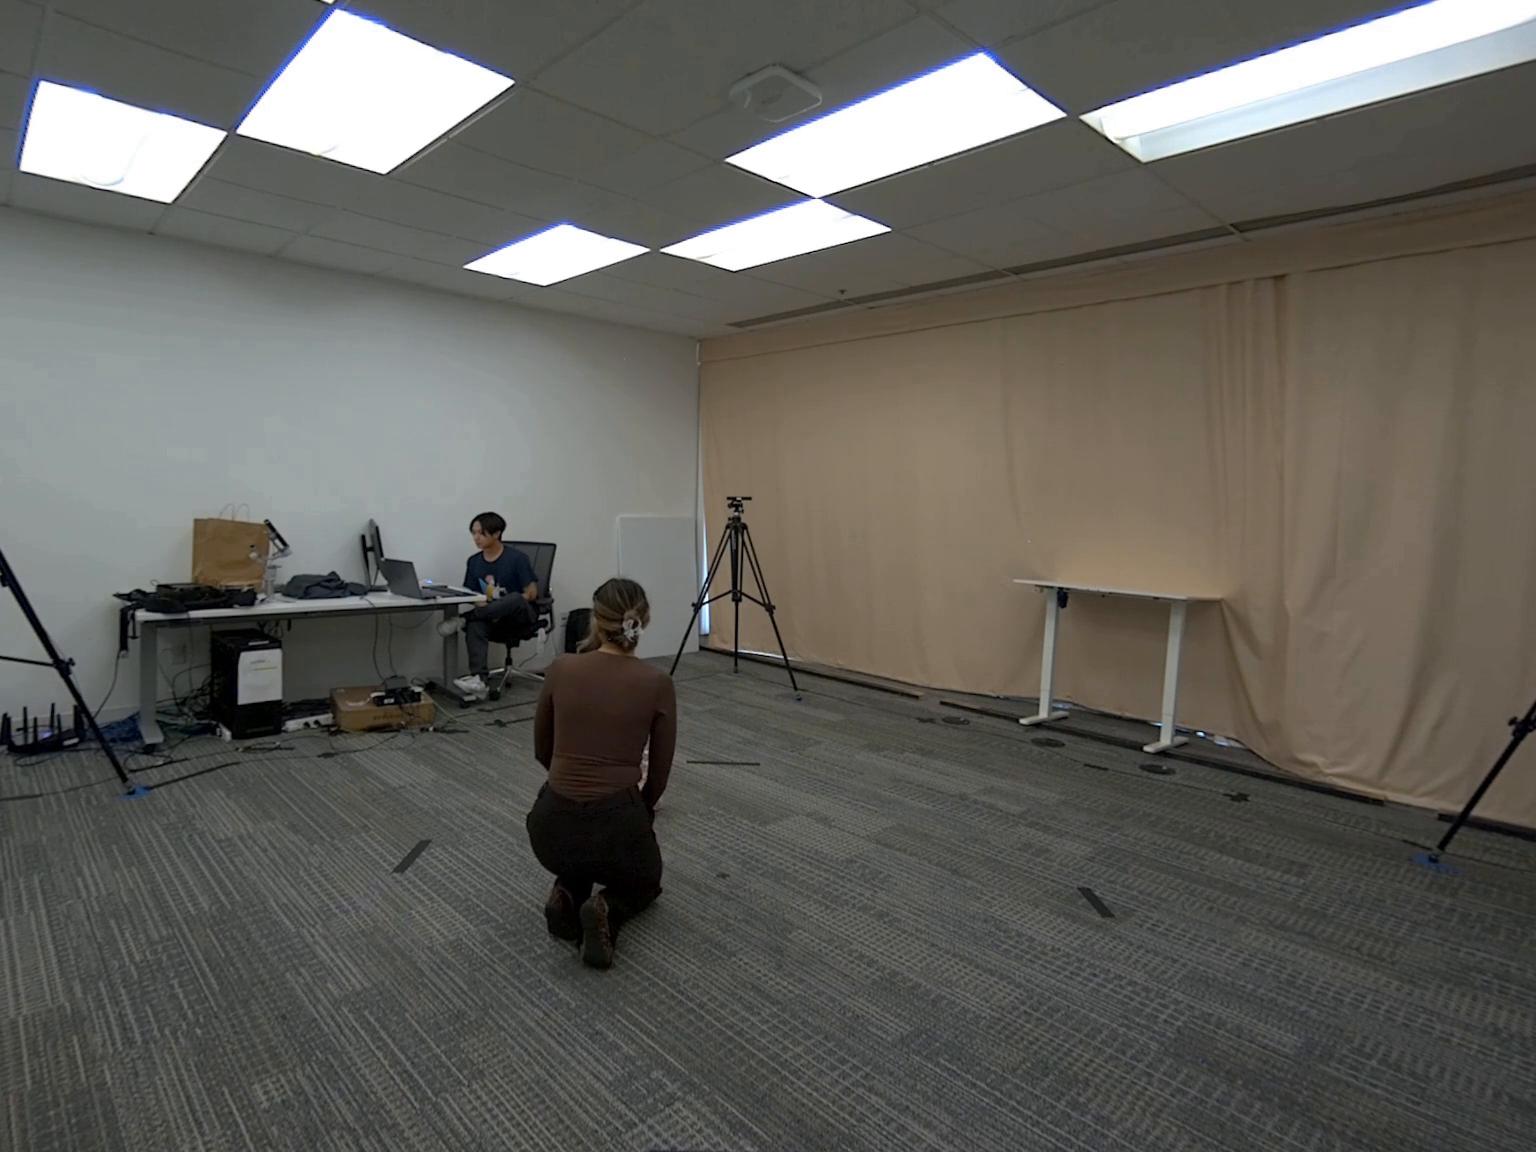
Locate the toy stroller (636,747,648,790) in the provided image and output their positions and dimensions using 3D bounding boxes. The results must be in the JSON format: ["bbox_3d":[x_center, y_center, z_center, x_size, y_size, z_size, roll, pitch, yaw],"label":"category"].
[{"bbox_3d":[-0.629,0.831,3.604,0.337,0.528,0.289,-22,19,-38],"label":"toy stroller"}]
